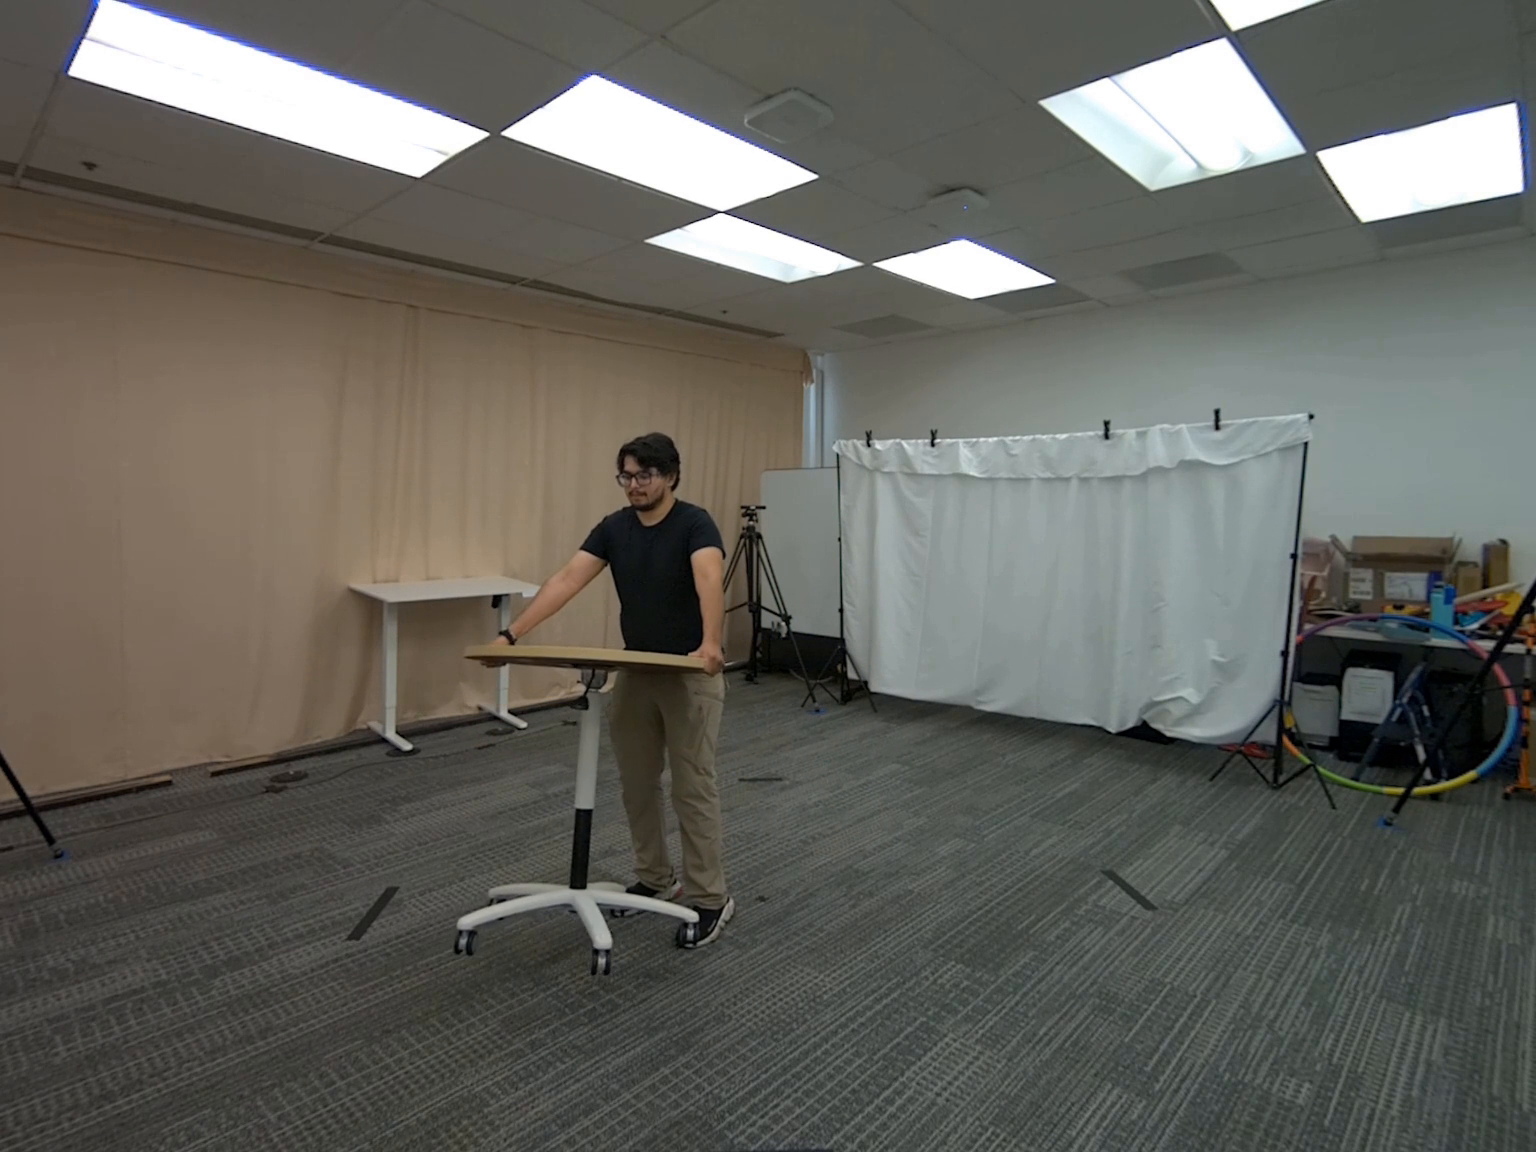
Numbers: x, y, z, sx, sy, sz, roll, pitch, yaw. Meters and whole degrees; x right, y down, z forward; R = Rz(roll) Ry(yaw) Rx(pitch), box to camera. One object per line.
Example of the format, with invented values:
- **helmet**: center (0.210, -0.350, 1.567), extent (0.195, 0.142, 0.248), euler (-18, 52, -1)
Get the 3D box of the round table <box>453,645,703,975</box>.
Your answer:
- **round table**: center (-0.513, 0.638, 2.456), extent (0.785, 0.791, 0.781), euler (3, -10, -1)
